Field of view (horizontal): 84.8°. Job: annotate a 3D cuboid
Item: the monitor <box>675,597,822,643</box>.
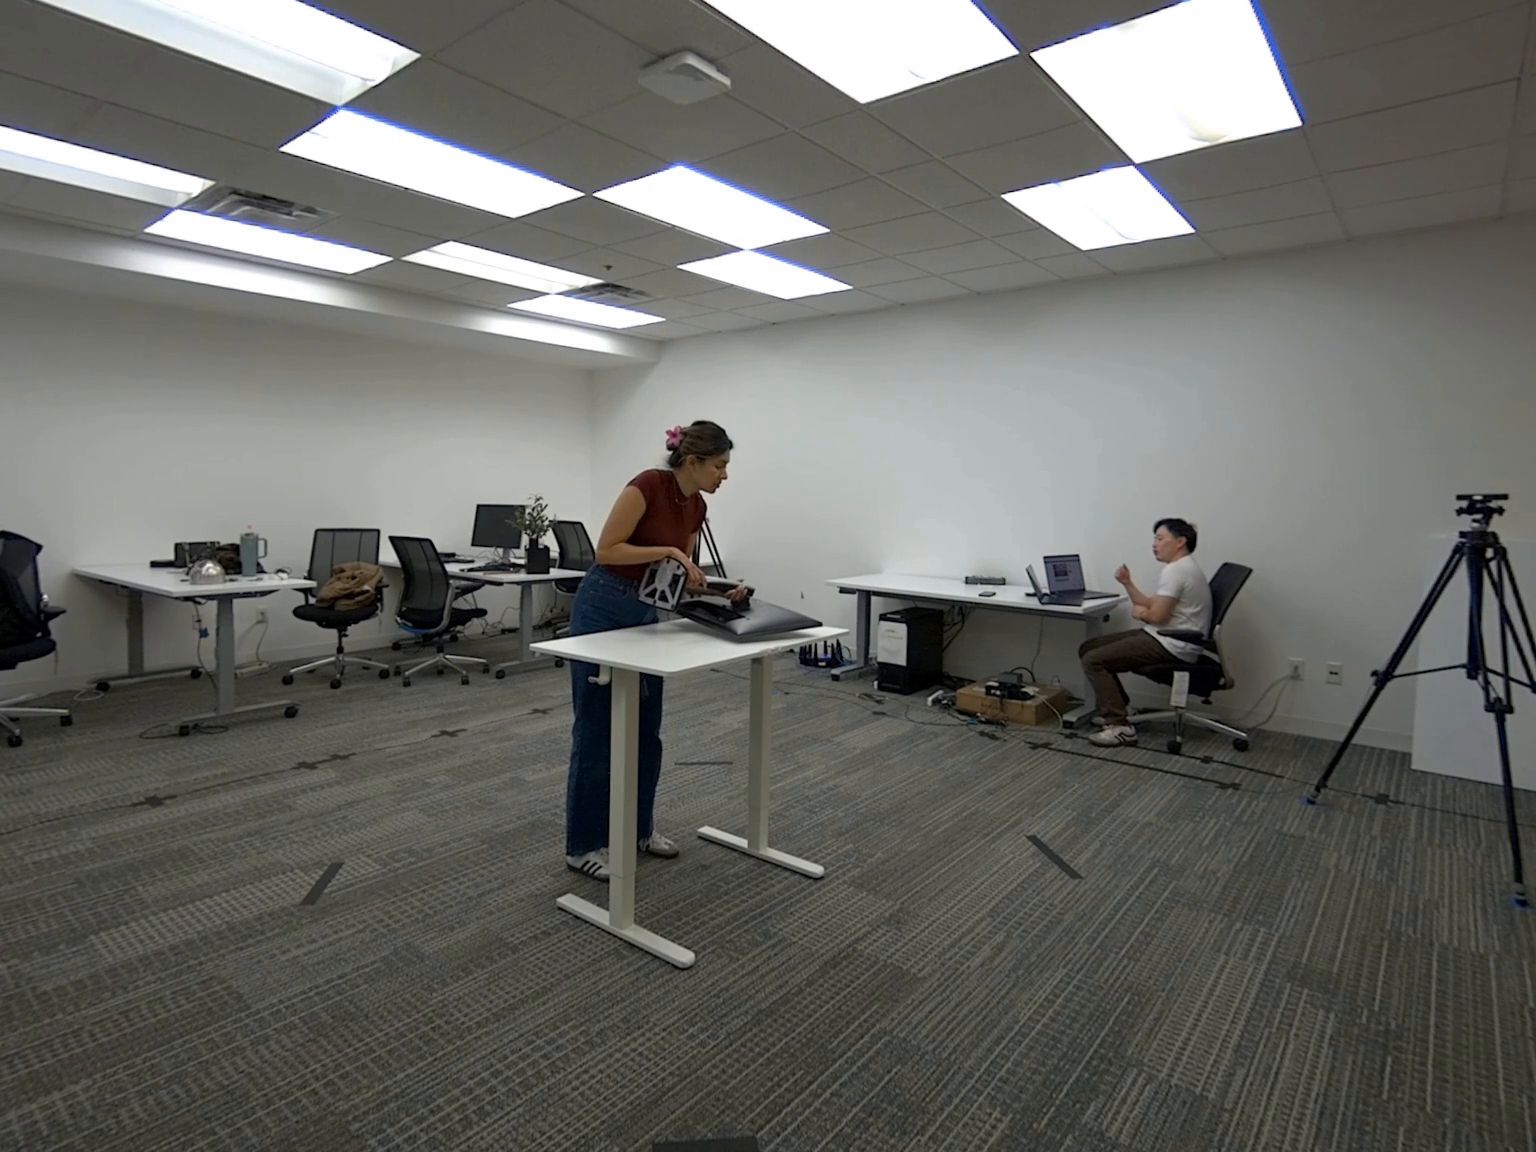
[{"bbox_3d":[-0.170,0.079,3.026,0.504,0.187,0.559,13,3,-35],"label":"monitor"}]
